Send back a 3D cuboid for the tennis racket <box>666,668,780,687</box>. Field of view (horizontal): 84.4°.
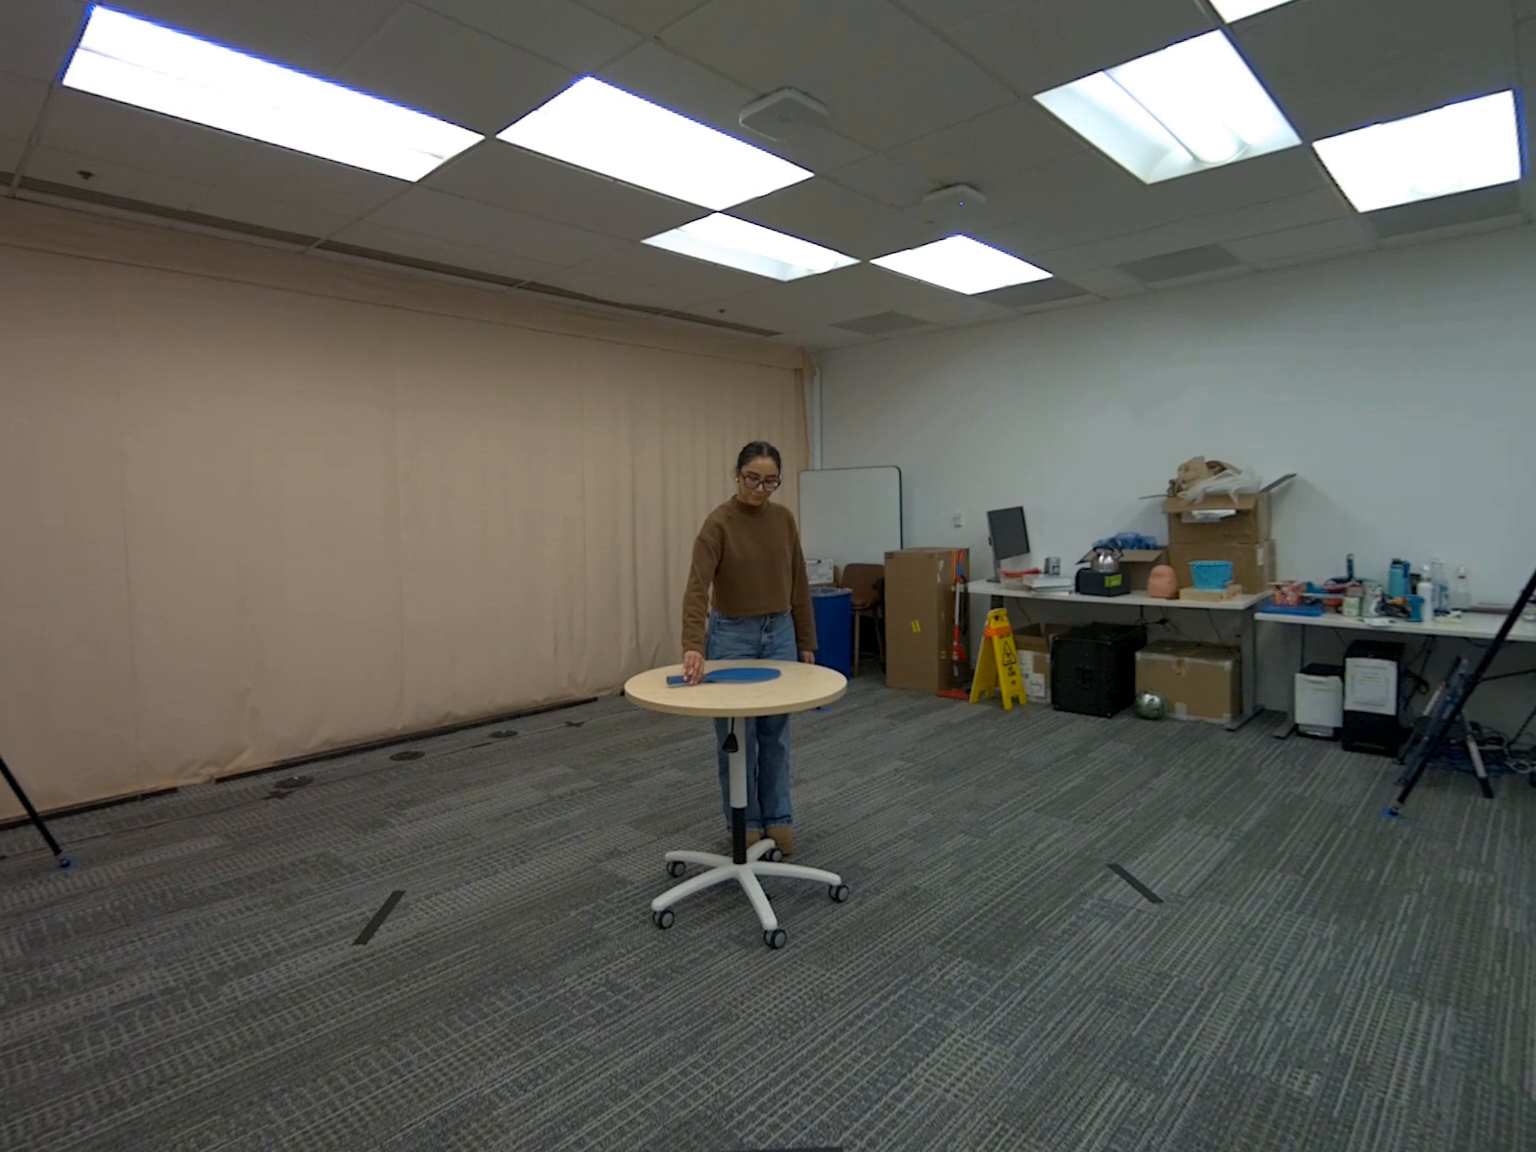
[{"bbox_3d":[-0.156,0.350,2.950,0.422,0.032,0.219,-1,4,-26],"label":"tennis racket"}]
